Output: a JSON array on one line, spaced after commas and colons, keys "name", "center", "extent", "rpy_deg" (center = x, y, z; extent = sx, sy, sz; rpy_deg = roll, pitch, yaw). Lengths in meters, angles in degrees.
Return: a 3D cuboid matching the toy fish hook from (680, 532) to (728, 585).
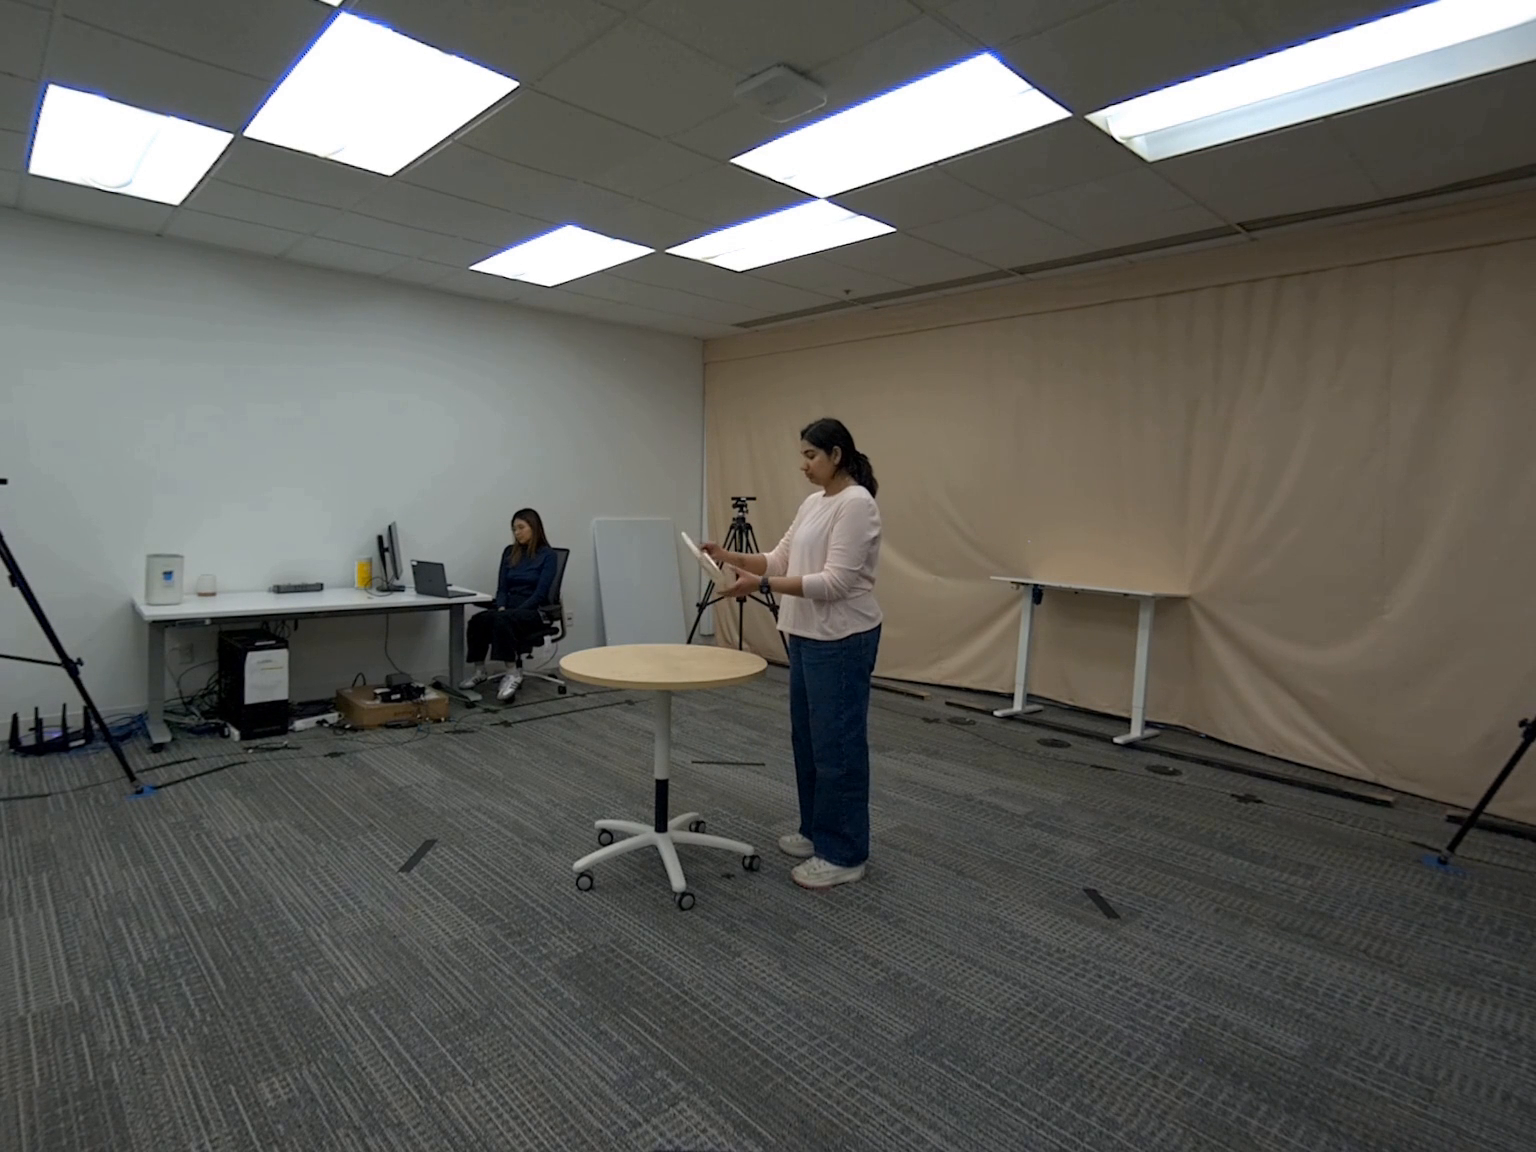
[{"name": "toy fish hook", "center": [-0.254, -0.085, 3.059], "extent": [0.048, 0.221, 0.514], "rpy_deg": [-35, 15, 0]}]
